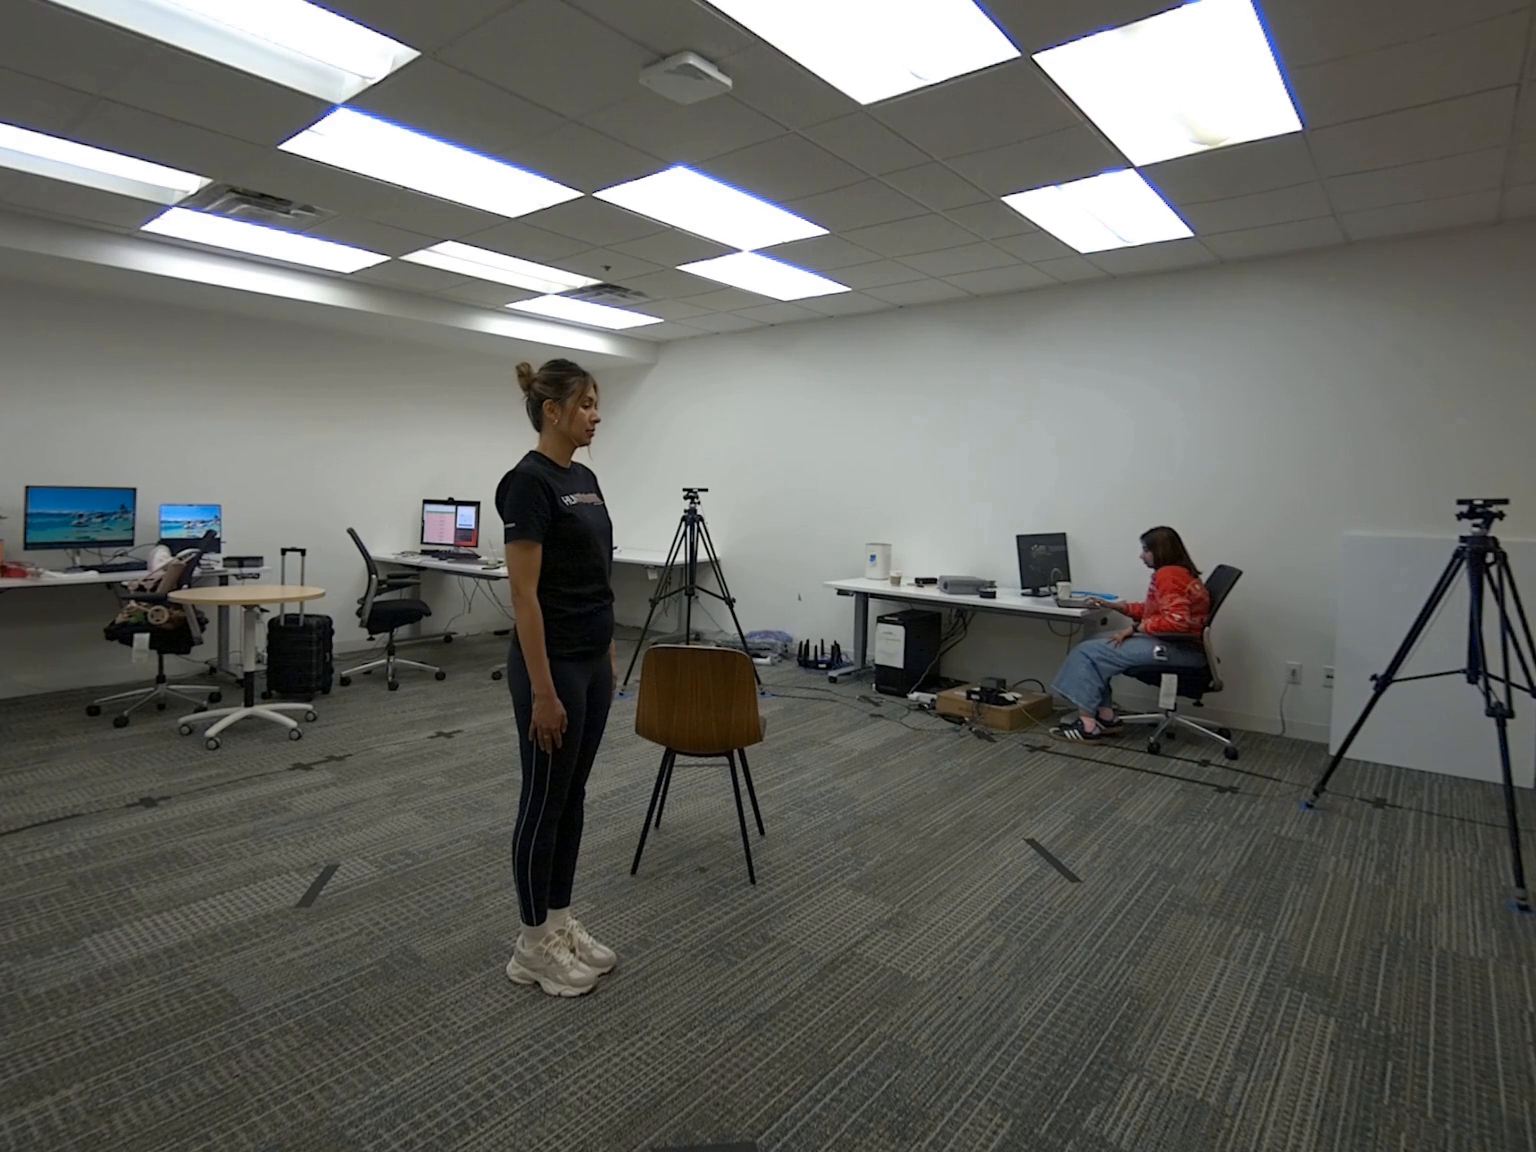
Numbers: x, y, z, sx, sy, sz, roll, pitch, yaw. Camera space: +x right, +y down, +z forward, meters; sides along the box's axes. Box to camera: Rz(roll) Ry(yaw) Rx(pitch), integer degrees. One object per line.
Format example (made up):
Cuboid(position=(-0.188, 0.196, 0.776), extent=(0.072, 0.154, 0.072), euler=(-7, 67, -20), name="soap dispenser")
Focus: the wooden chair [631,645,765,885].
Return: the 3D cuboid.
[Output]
Cuboid(position=(-0.256, 0.629, 3.227), extent=(0.482, 0.872, 0.523), euler=(1, 7, 6), name="wooden chair")
